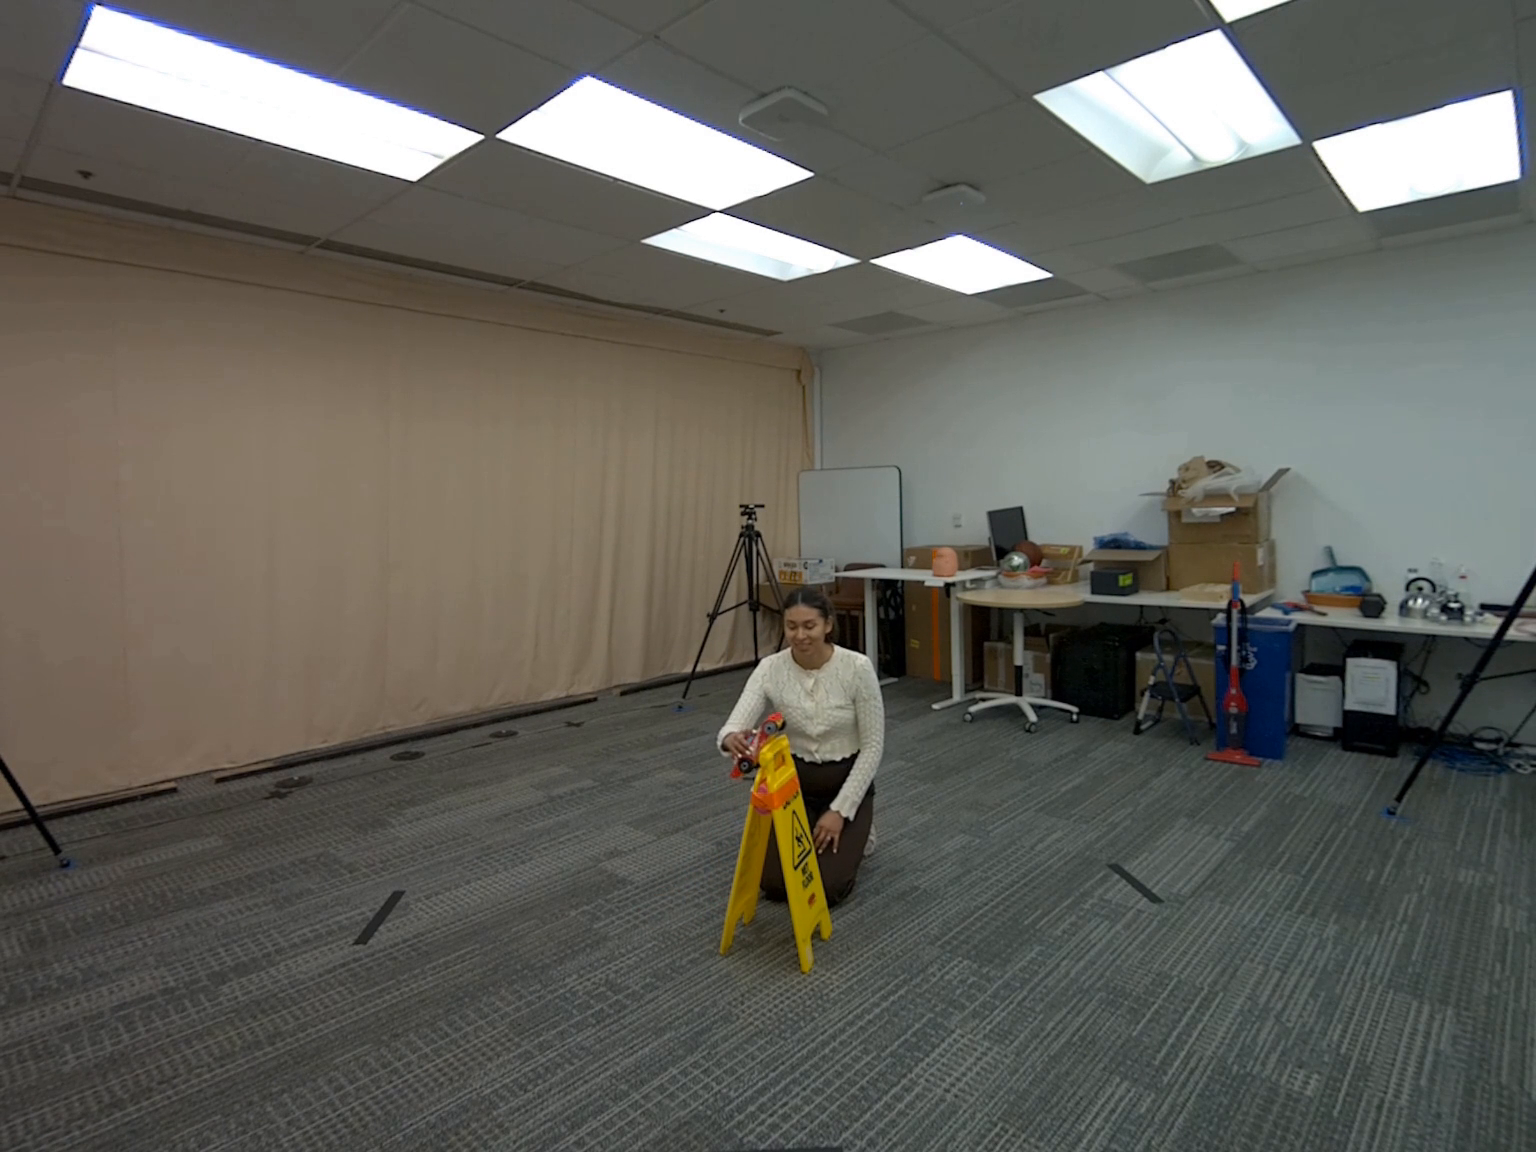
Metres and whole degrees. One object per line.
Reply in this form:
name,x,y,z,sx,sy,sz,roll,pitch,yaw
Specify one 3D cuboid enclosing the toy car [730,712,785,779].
toy car,-0.035,0.546,2.667,0.085,0.255,0.127,45,13,16
